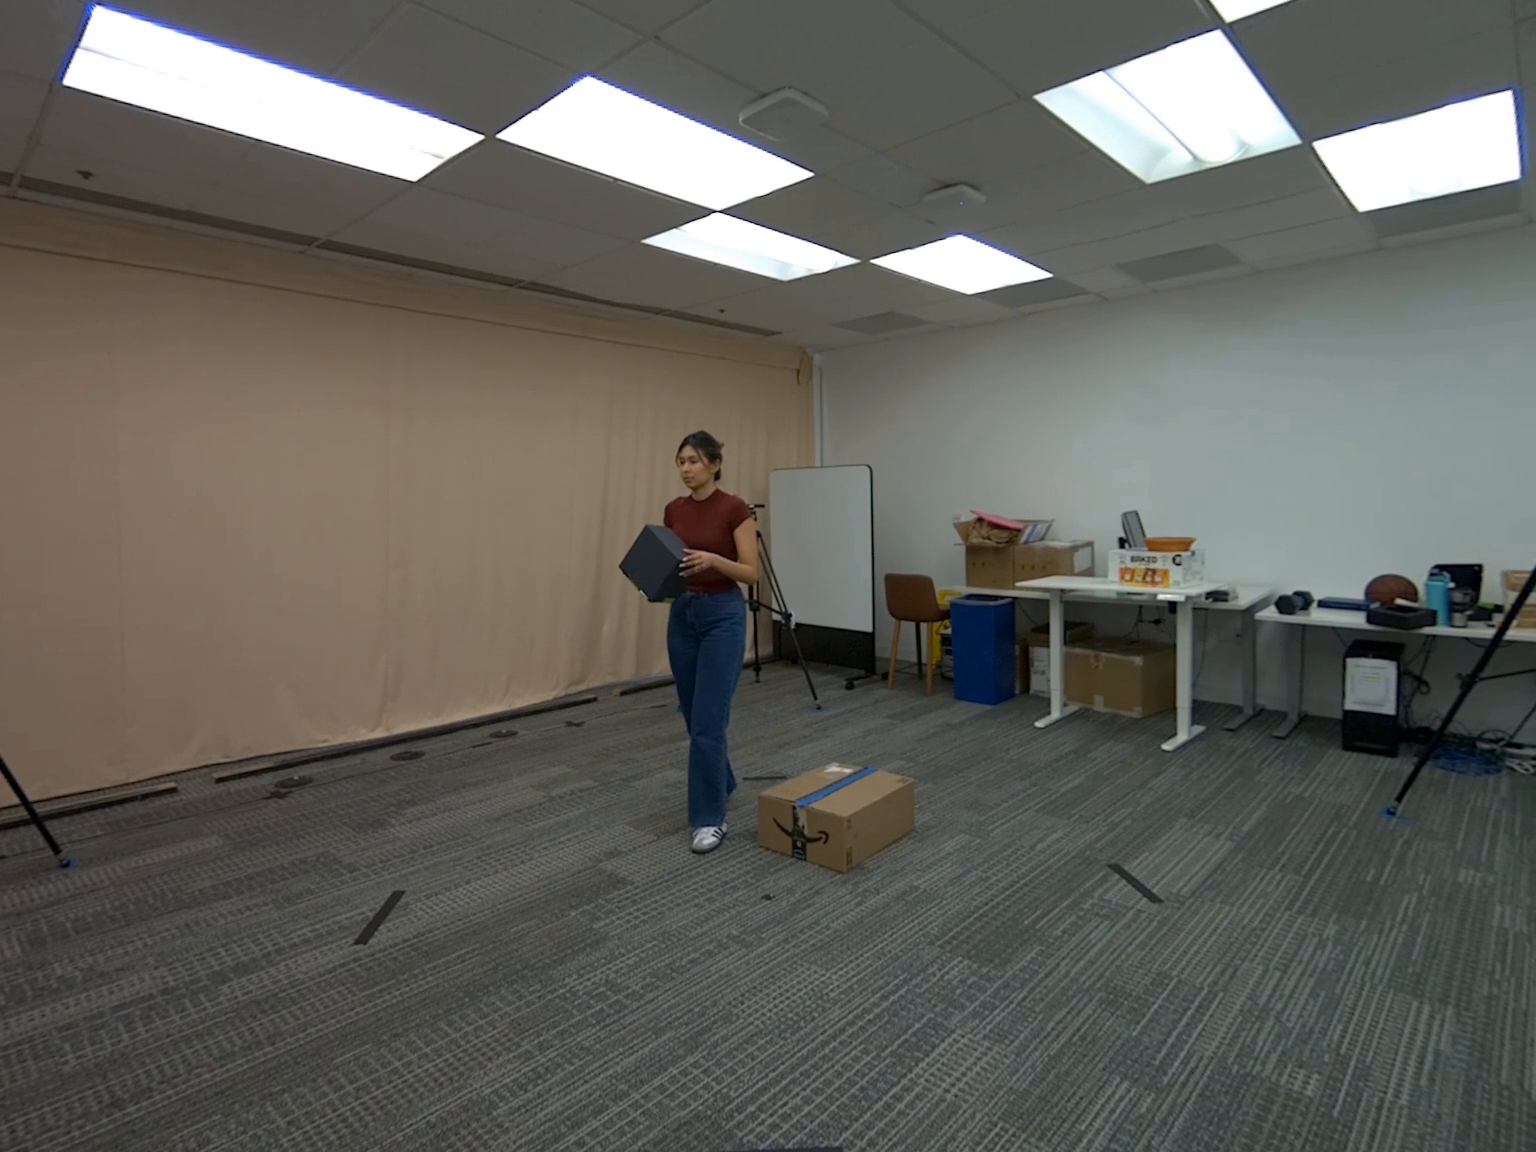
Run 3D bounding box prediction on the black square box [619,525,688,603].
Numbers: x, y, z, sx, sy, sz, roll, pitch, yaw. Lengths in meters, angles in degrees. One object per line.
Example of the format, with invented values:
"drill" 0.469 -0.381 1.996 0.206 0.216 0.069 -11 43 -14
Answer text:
"black square box" -0.429 -0.047 3.347 0.235 0.217 0.151 46 20 27
